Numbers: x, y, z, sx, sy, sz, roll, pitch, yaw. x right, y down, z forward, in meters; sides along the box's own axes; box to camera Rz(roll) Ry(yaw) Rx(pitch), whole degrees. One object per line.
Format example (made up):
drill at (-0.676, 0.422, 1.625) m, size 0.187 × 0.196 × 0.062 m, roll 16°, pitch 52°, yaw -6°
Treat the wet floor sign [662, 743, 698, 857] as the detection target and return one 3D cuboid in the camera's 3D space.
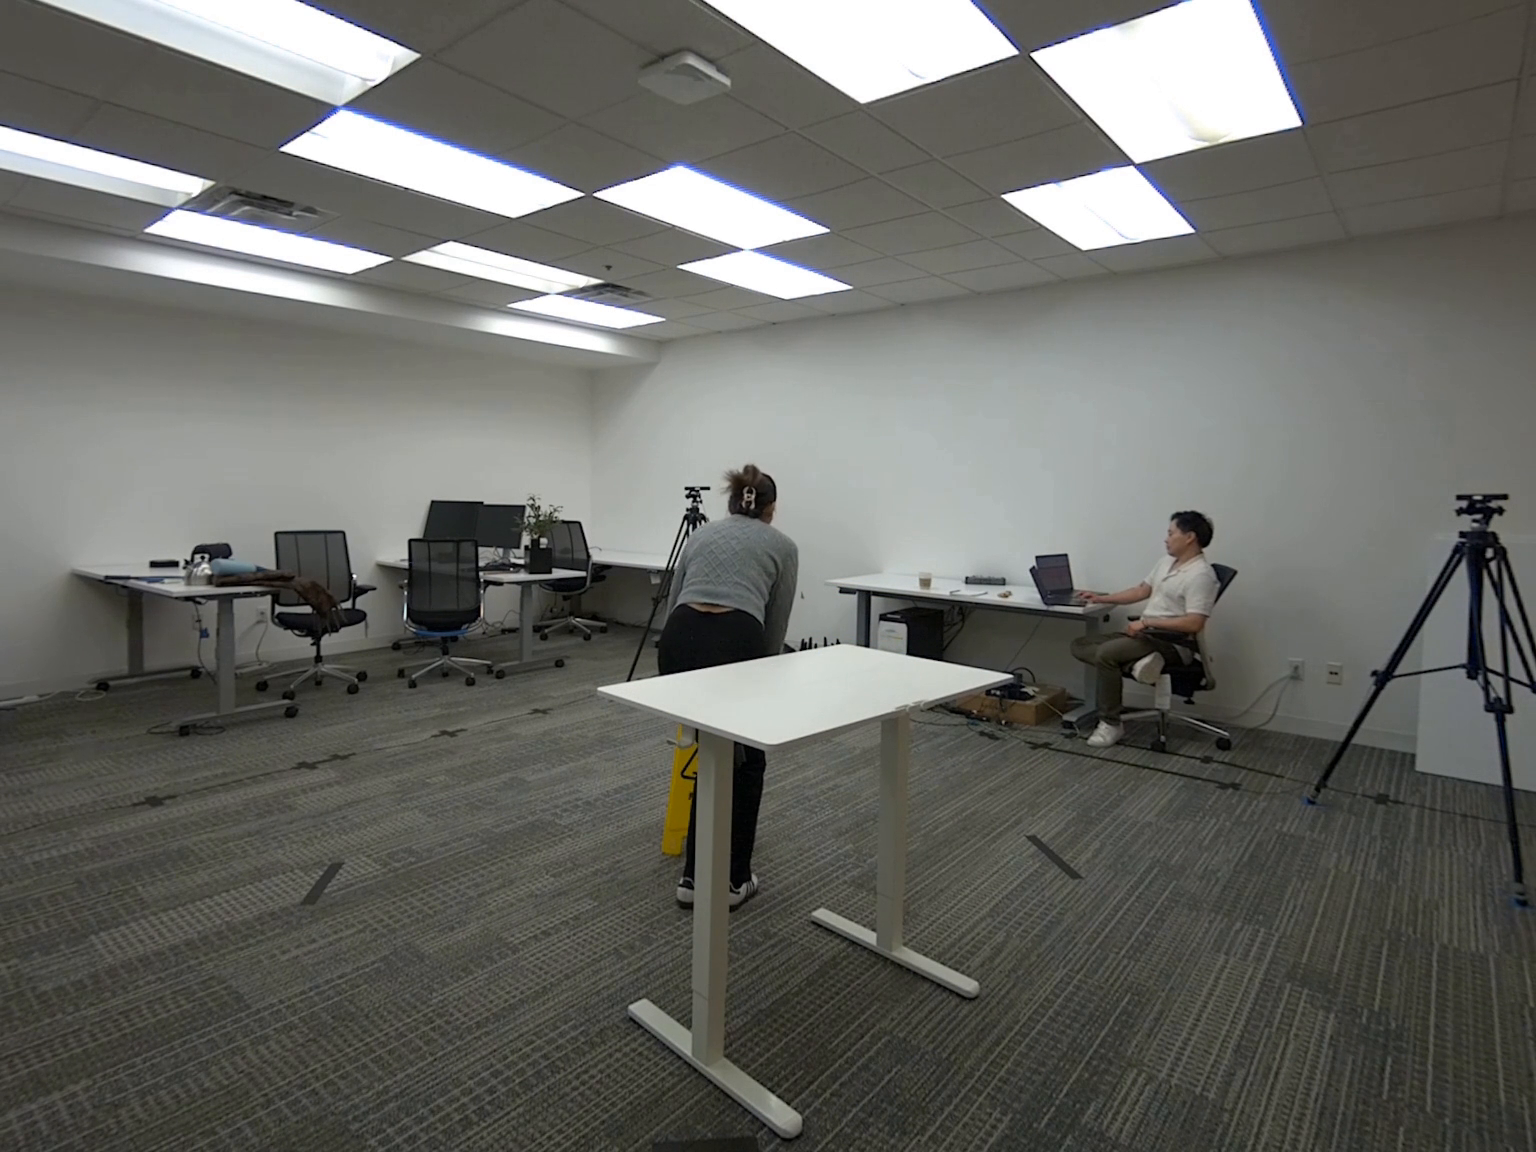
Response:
wet floor sign at (-0.233, 0.715, 3.312) m, size 0.288 × 0.644 × 0.284 m, roll 3°, pitch 3°, yaw 19°
